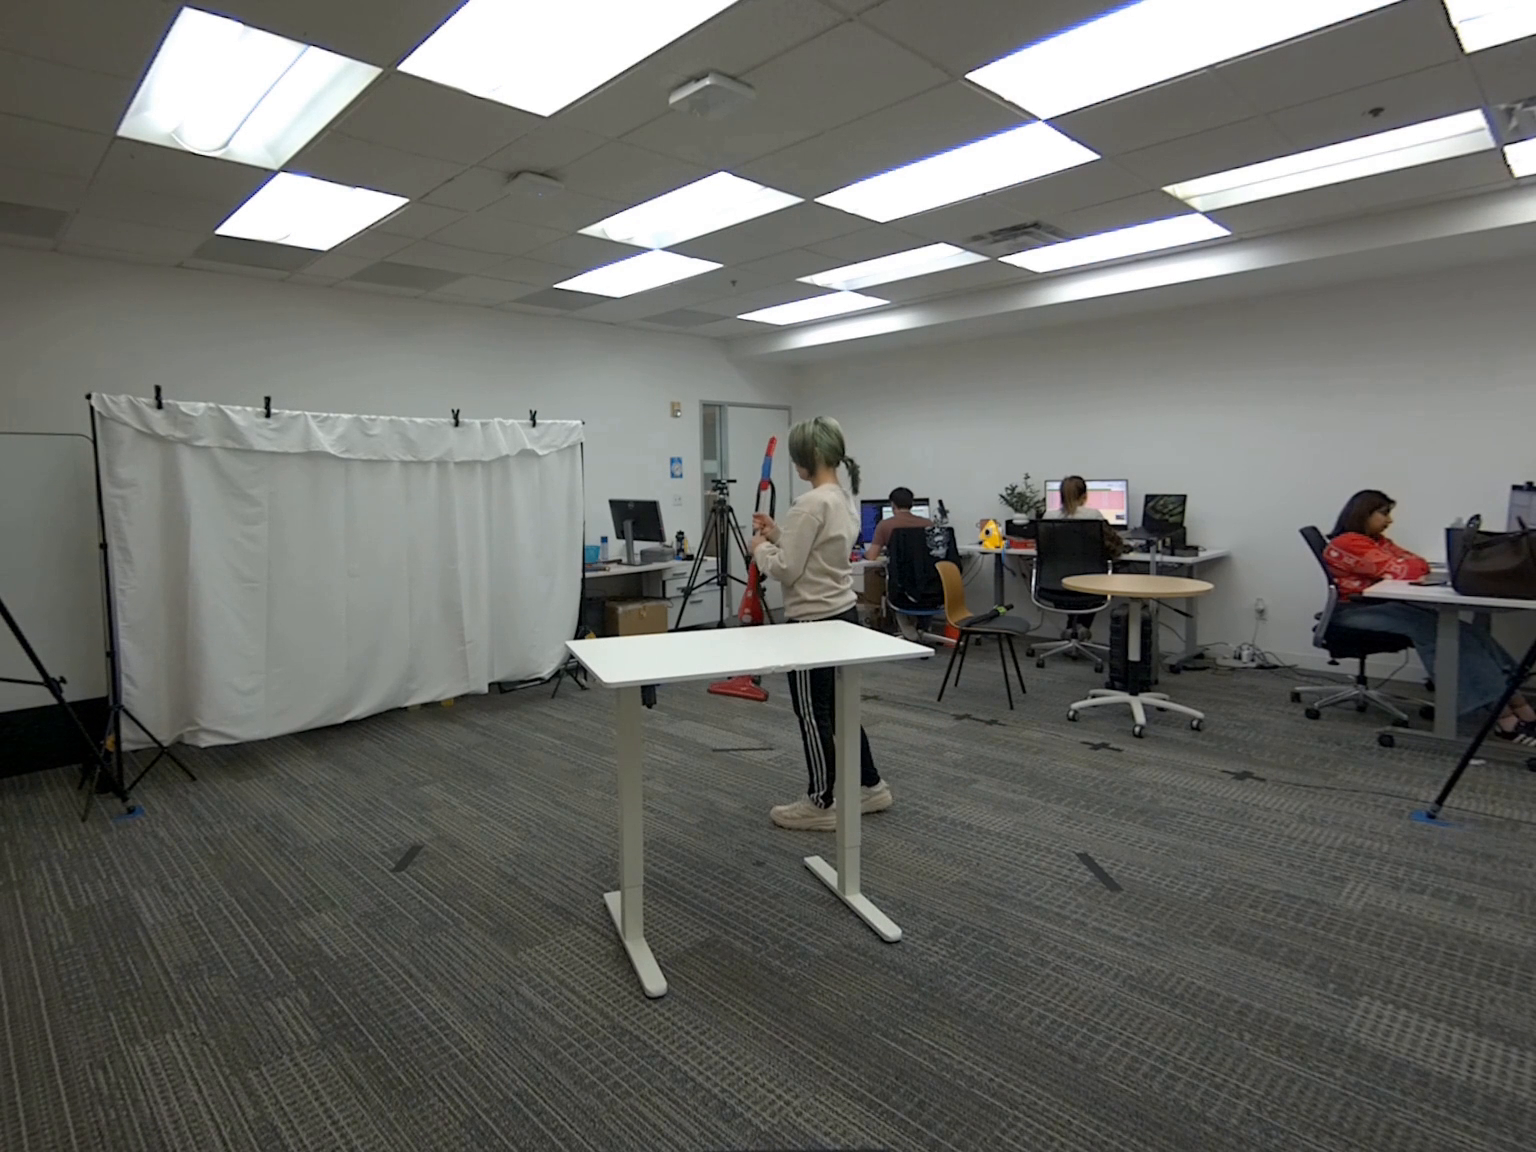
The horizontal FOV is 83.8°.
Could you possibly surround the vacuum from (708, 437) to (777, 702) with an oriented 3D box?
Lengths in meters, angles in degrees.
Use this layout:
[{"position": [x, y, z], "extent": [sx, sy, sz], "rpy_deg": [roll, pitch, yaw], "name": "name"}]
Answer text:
[{"position": [-0.039, -0.057, 3.559], "extent": [0.257, 1.055, 0.140], "rpy_deg": [5, -7, 19], "name": "vacuum"}]
